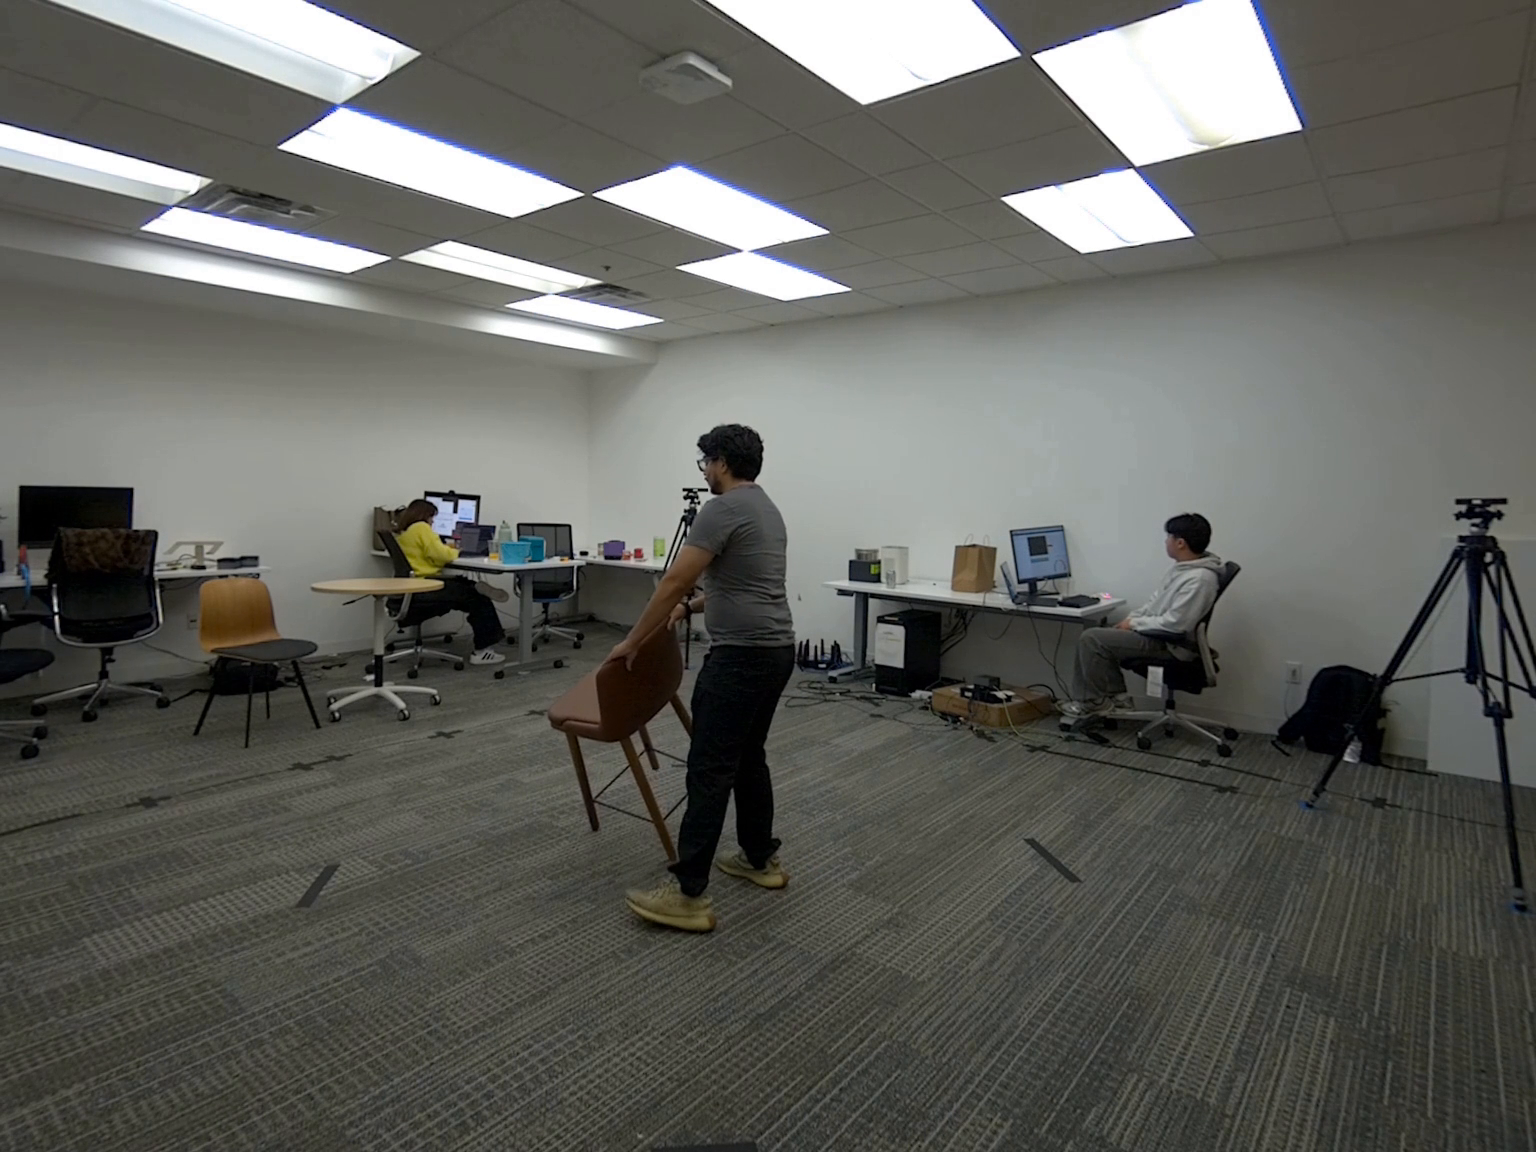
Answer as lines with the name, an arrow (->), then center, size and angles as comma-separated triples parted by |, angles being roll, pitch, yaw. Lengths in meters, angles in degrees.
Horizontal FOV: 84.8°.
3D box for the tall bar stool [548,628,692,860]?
tall bar stool -> -0.542, 0.577, 3.275 | 0.484, 0.866, 0.453 | 8, 32, 38
